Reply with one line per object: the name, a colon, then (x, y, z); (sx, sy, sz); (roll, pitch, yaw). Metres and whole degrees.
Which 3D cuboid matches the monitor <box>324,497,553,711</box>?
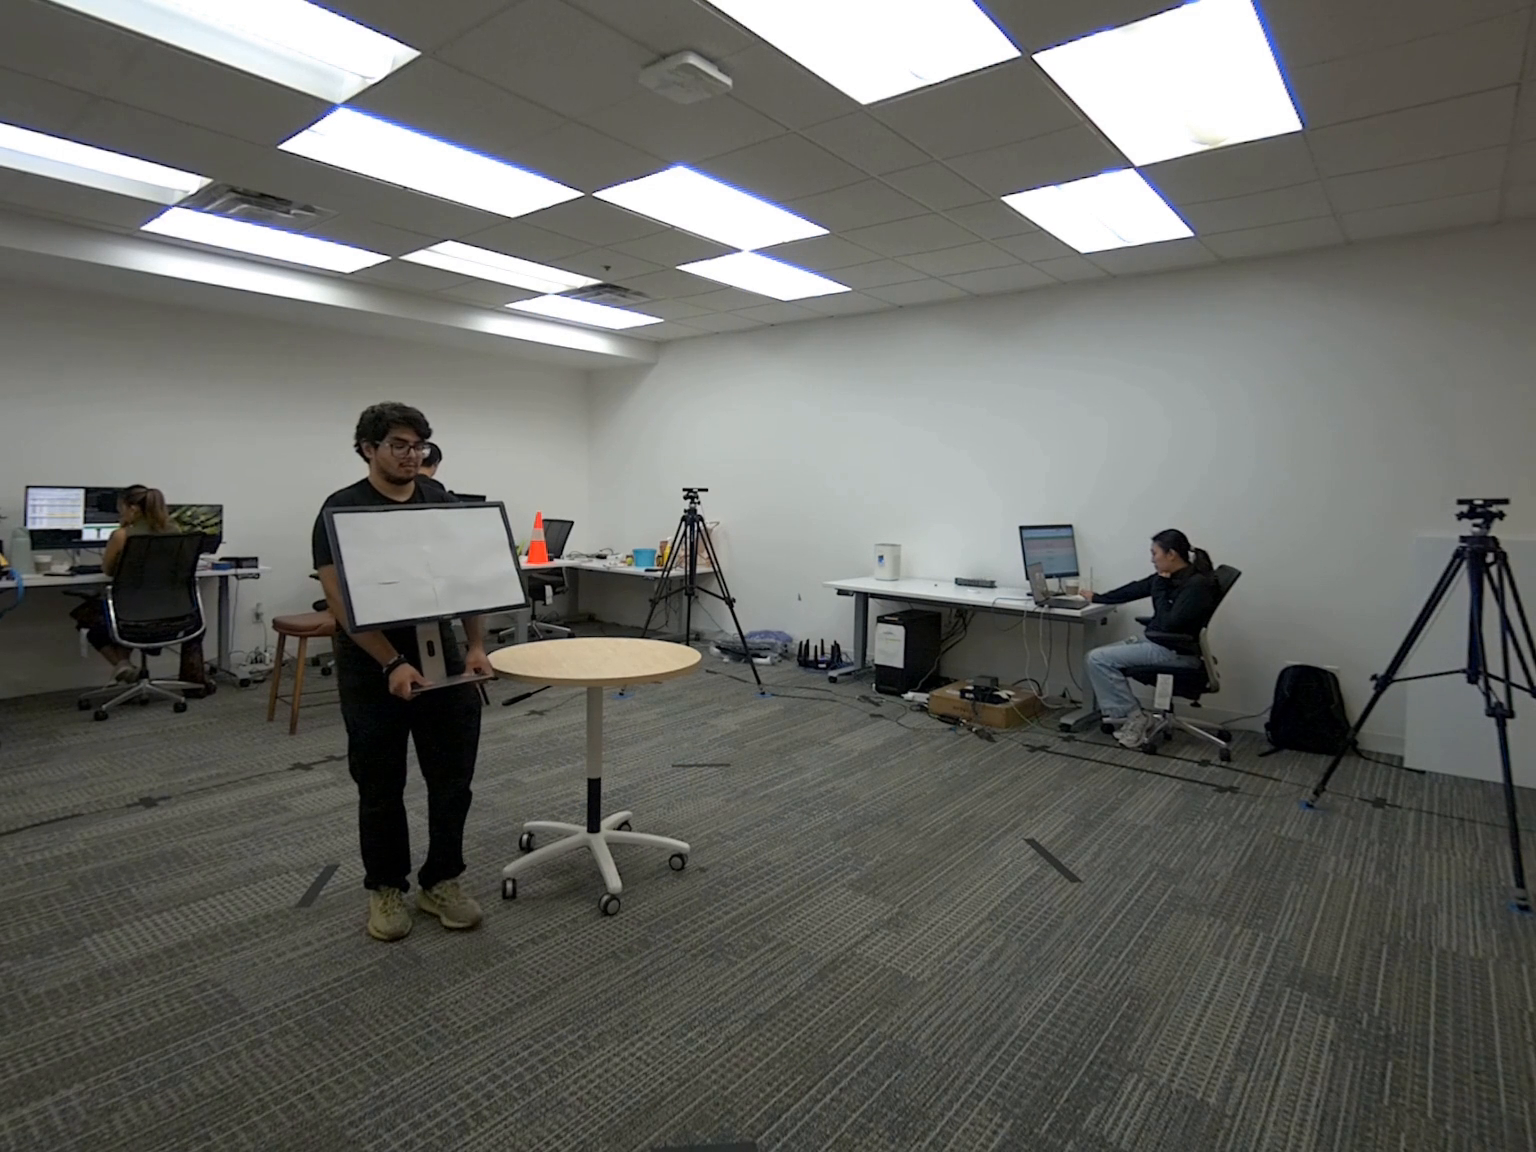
monitor: (-0.994, 0.064, 2.522); (0.549, 0.561, 0.214); (-5, -13, -41)
